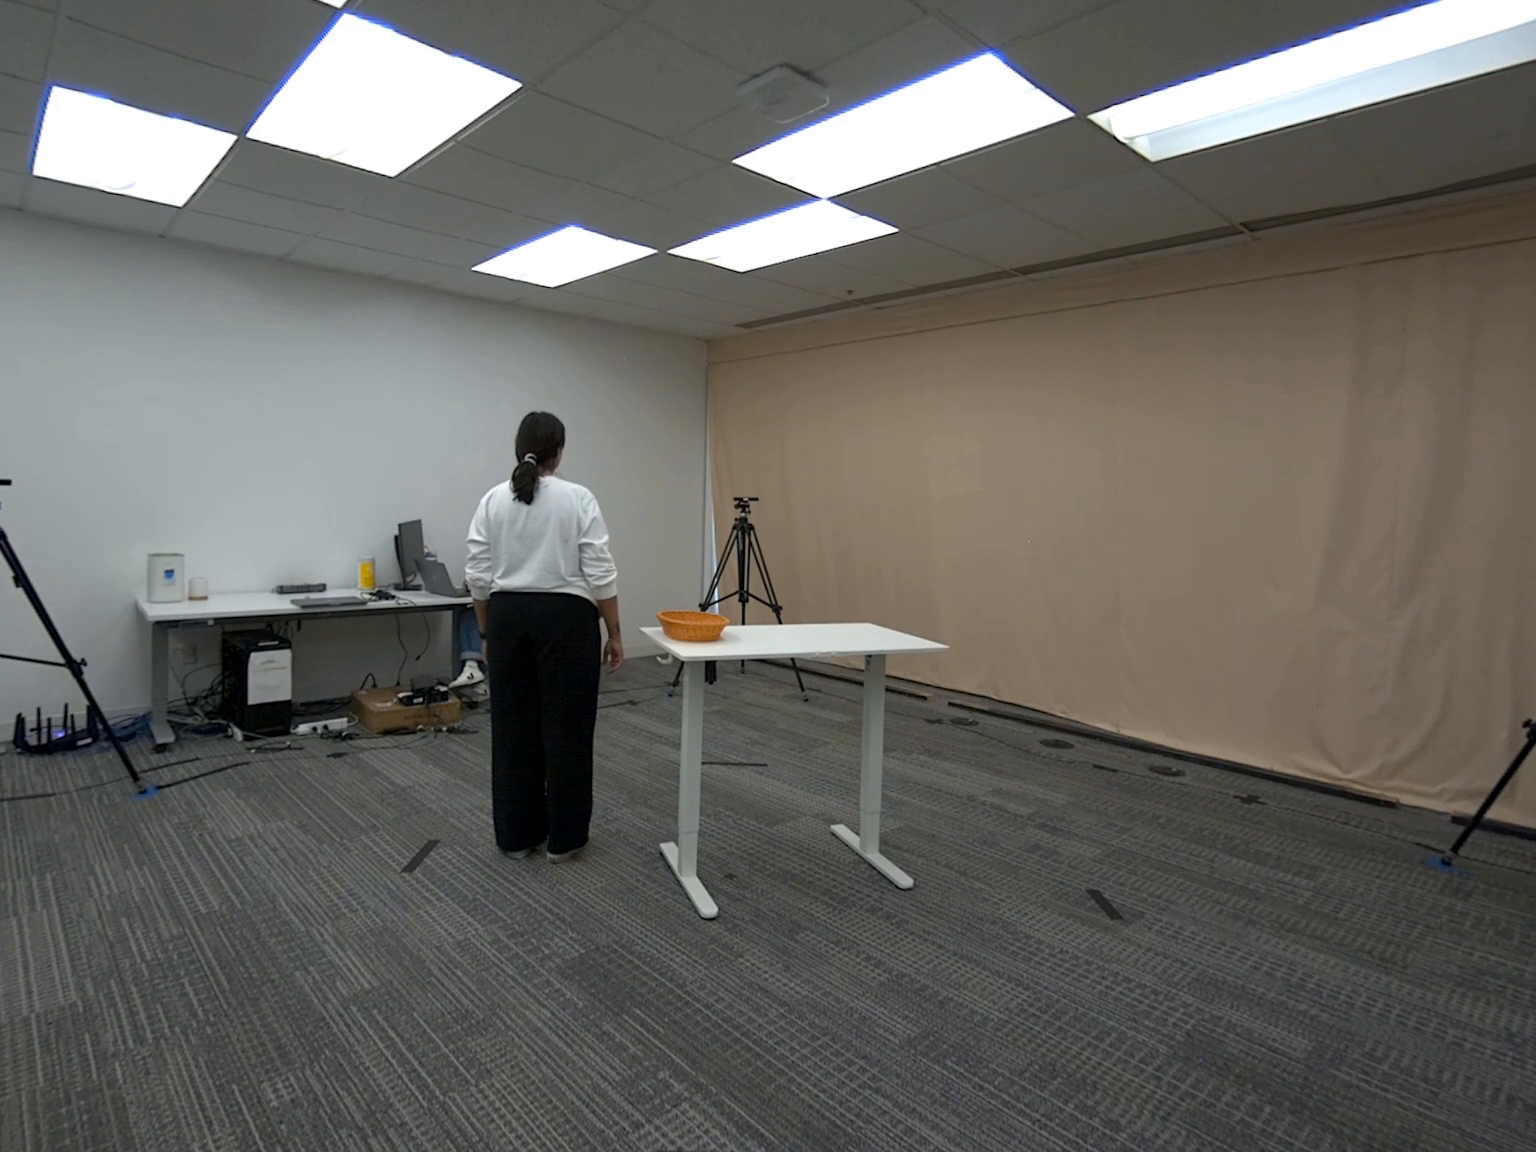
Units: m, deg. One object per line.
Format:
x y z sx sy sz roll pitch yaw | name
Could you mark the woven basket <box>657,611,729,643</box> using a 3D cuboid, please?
-0.298 0.192 3.066 0.250 0.073 0.355 2 5 -14 | woven basket
